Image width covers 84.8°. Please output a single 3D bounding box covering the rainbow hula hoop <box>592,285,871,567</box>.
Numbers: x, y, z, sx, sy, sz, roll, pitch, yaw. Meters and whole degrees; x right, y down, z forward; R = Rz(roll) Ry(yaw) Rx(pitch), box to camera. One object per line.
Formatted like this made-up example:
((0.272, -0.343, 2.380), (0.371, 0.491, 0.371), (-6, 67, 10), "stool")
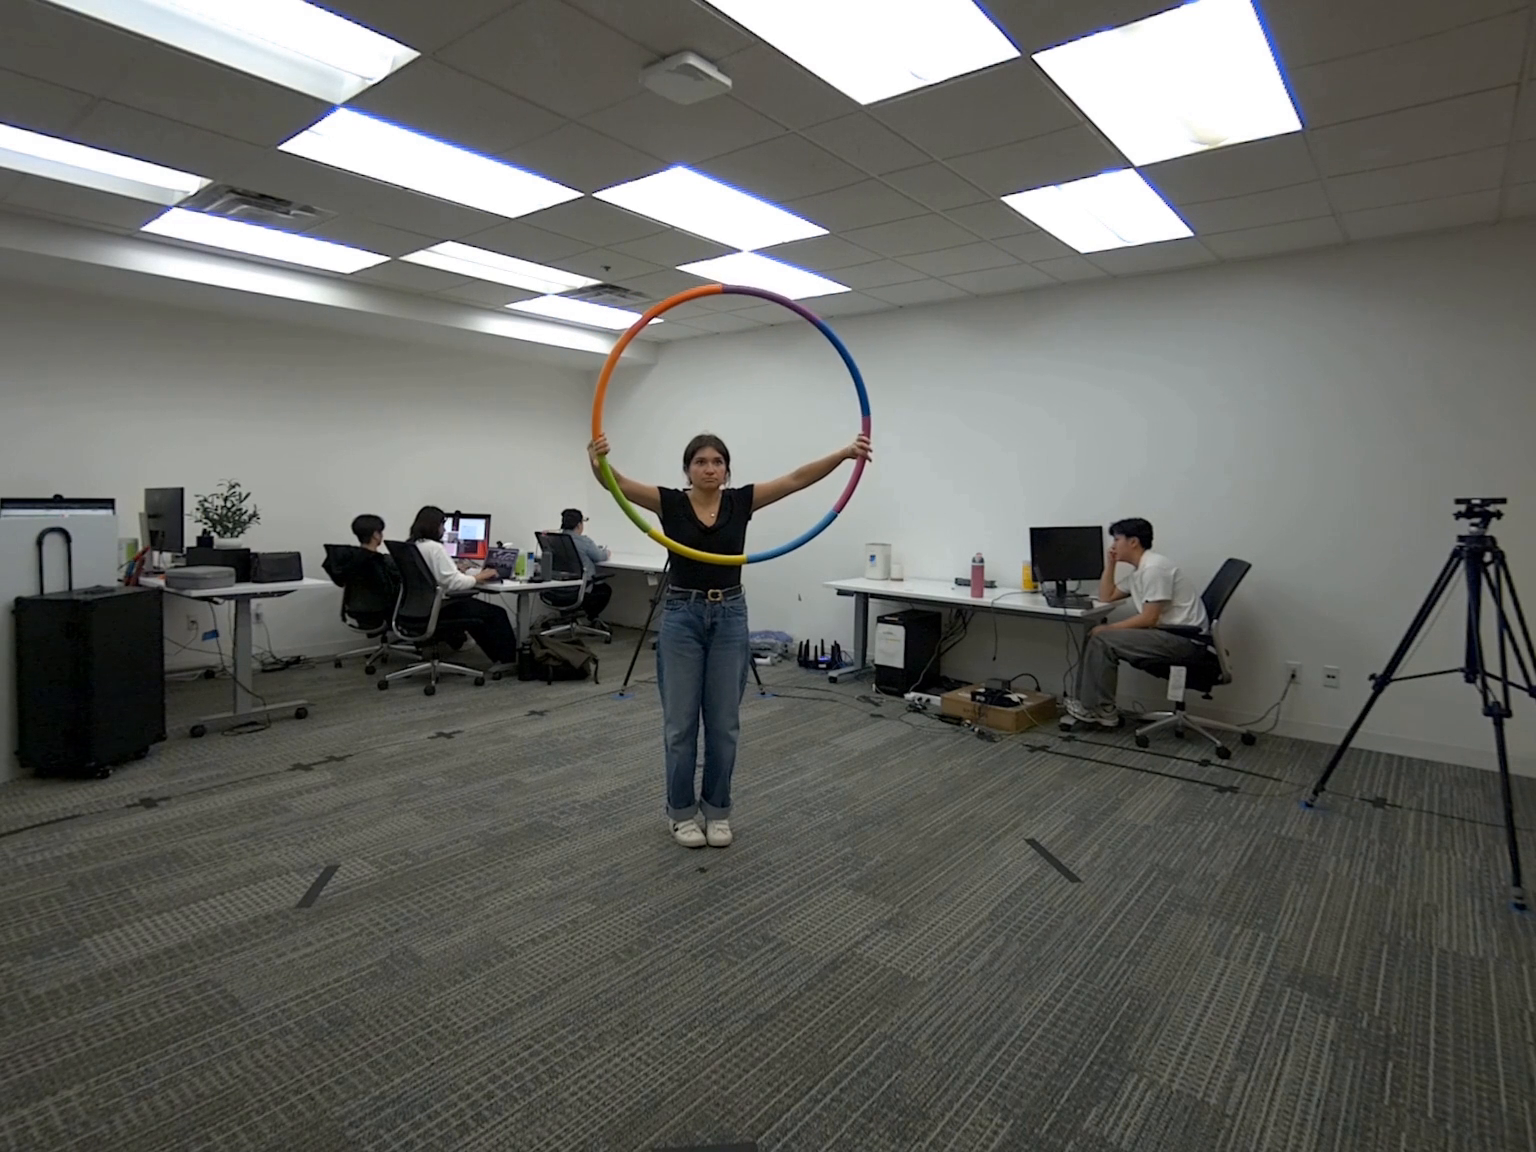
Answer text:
((-0.127, -0.526, 3.001), (0.973, 0.972, 0.036), (1, 7, -5), "rainbow hula hoop")
